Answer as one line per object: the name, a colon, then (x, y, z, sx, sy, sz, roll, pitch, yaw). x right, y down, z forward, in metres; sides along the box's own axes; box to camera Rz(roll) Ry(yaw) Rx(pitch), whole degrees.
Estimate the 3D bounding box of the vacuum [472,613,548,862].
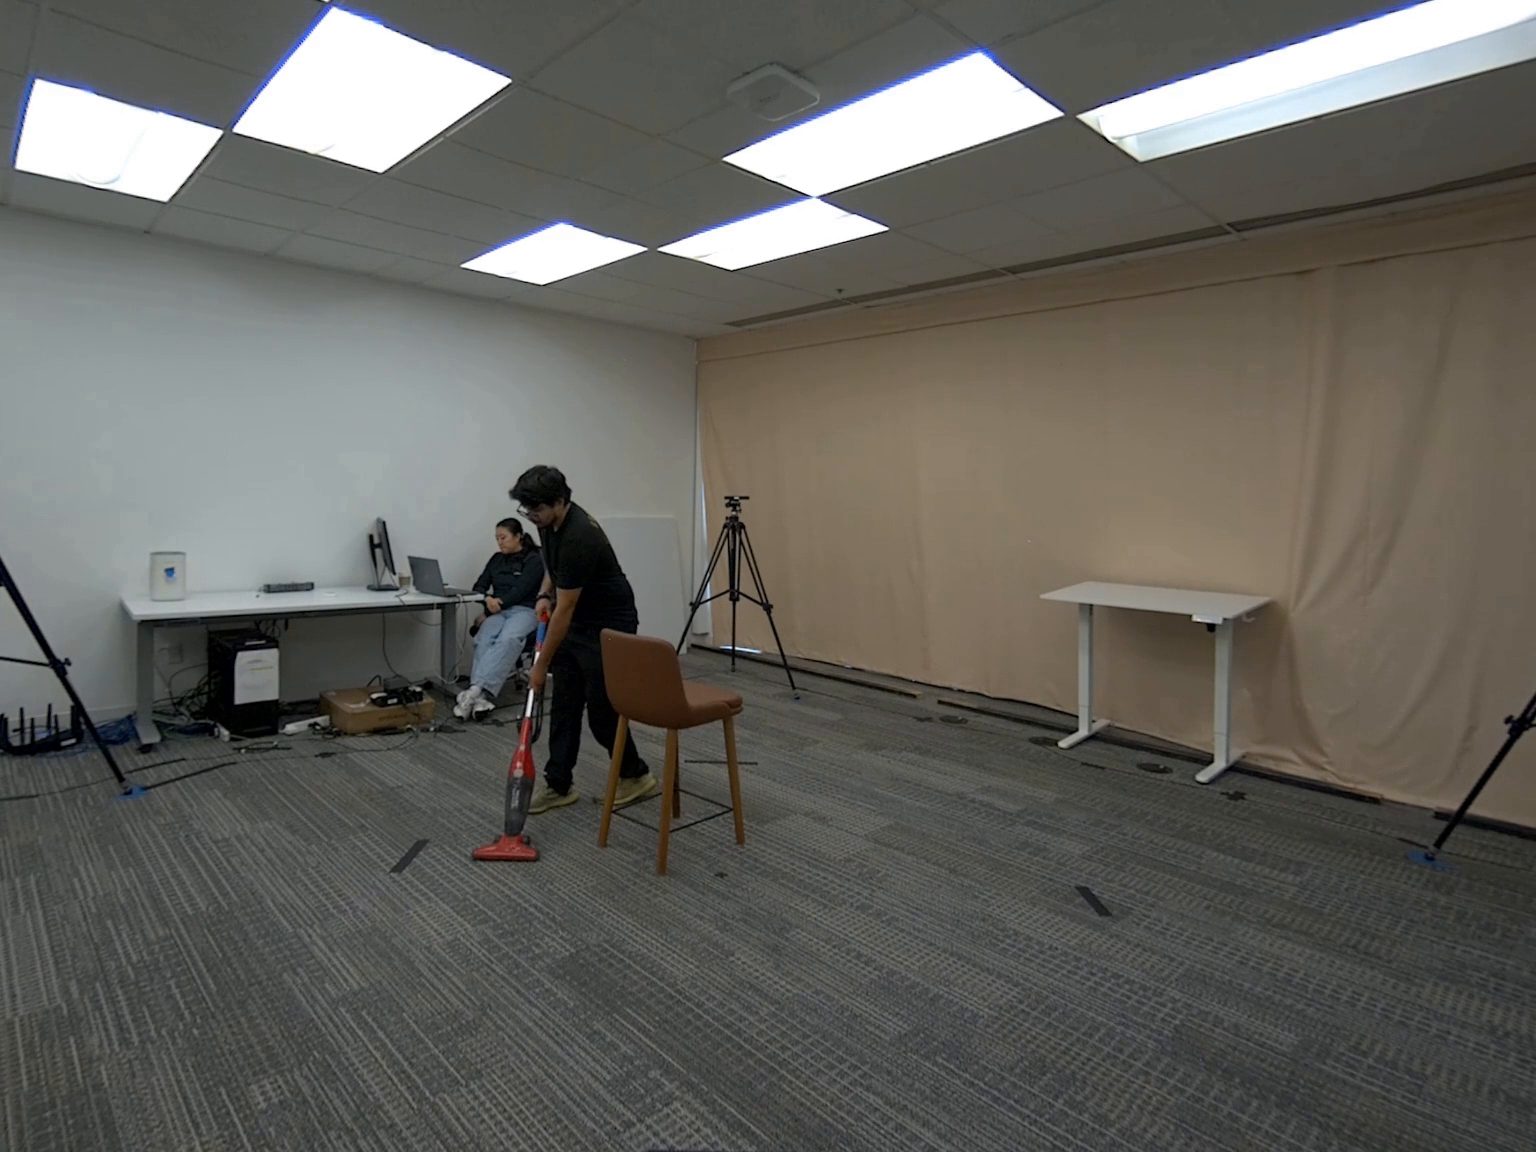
vacuum: (-0.996, 0.603, 3.503, 0.252, 1.068, 0.141, 3, -30, -2)
